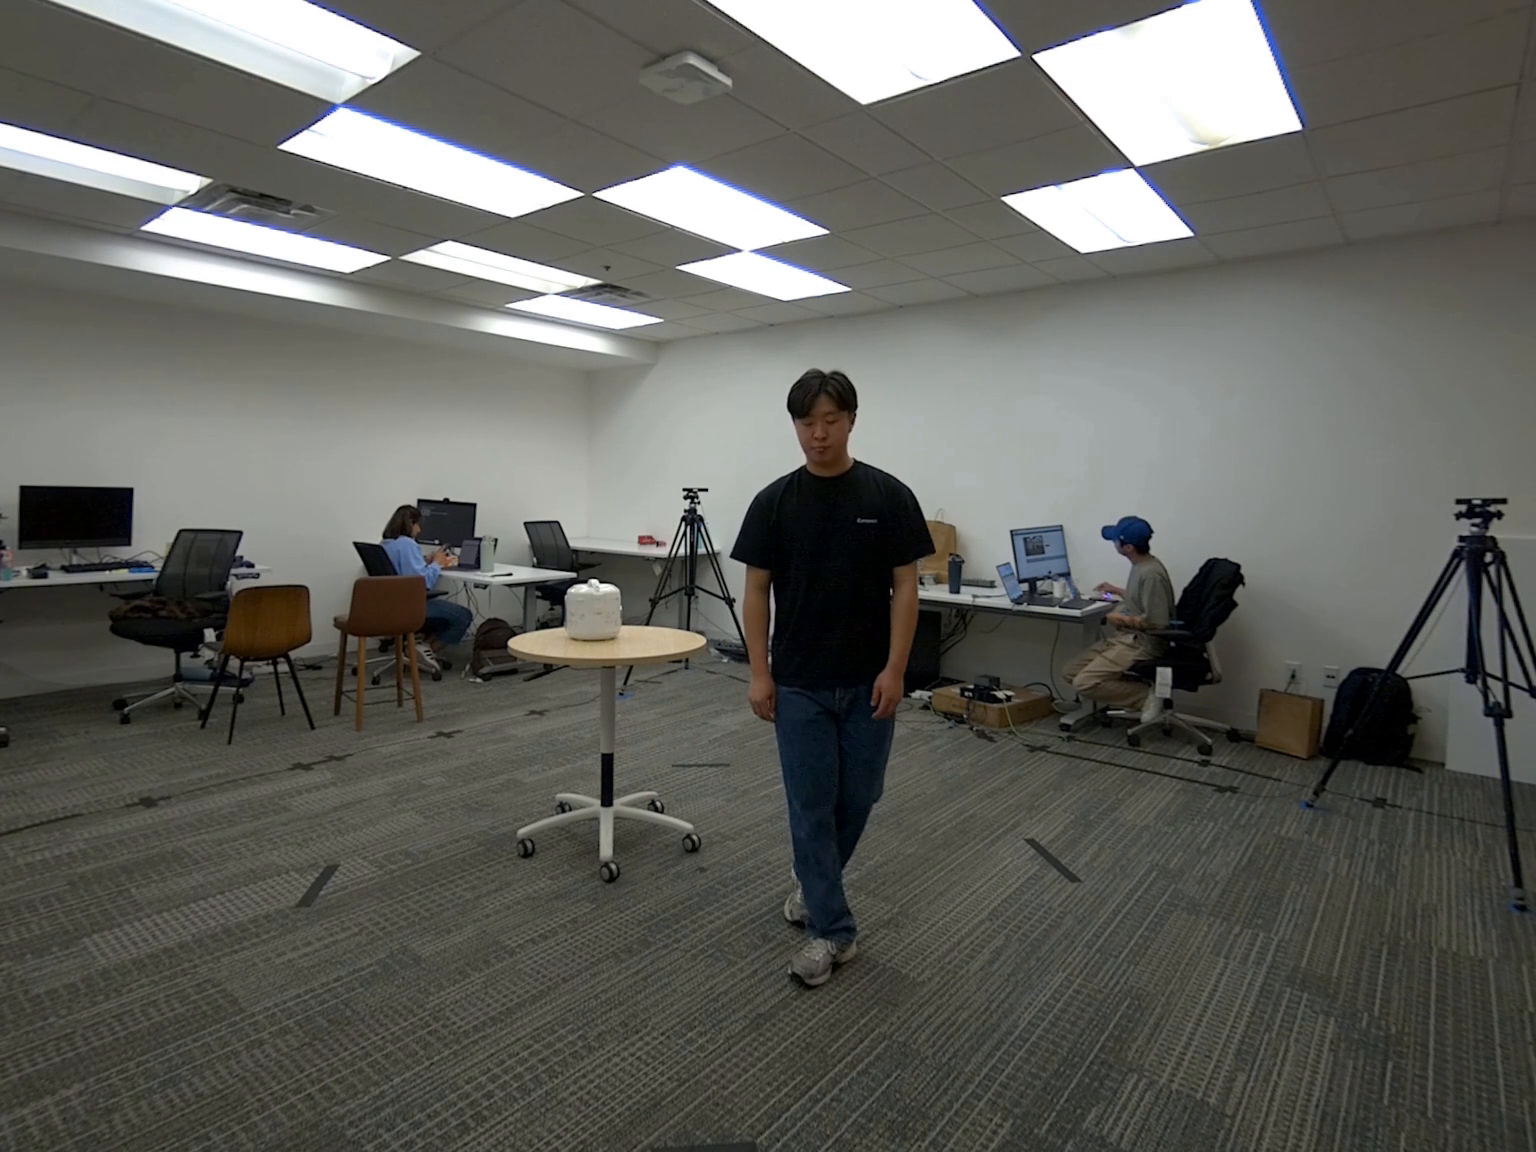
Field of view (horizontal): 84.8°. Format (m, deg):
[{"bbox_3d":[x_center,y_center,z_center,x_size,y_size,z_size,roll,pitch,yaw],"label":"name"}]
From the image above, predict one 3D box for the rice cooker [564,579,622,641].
[{"bbox_3d":[-0.698,0.124,3.366,0.213,0.232,0.226,-1,4,-19],"label":"rice cooker"}]
